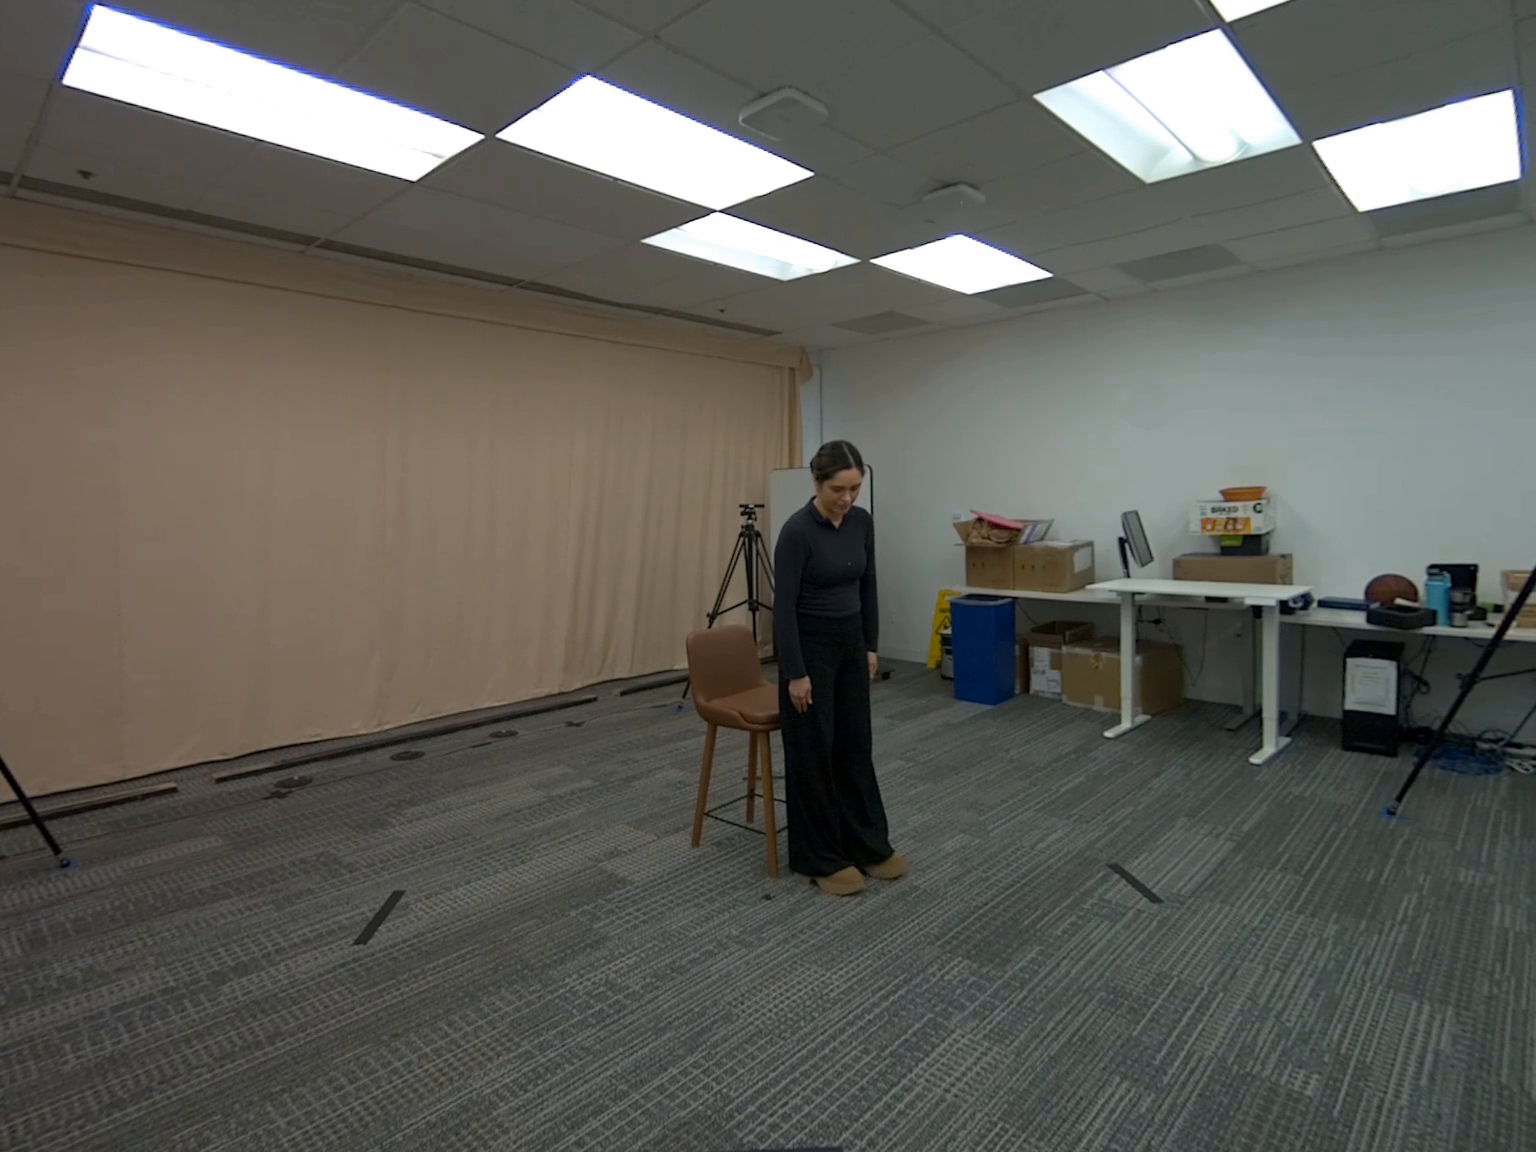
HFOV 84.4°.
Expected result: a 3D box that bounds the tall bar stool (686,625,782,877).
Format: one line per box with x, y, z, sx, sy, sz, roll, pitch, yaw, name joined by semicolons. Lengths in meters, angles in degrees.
-0.037;0.667;3.421;0.482;0.888;0.443;-1;3;41;tall bar stool
